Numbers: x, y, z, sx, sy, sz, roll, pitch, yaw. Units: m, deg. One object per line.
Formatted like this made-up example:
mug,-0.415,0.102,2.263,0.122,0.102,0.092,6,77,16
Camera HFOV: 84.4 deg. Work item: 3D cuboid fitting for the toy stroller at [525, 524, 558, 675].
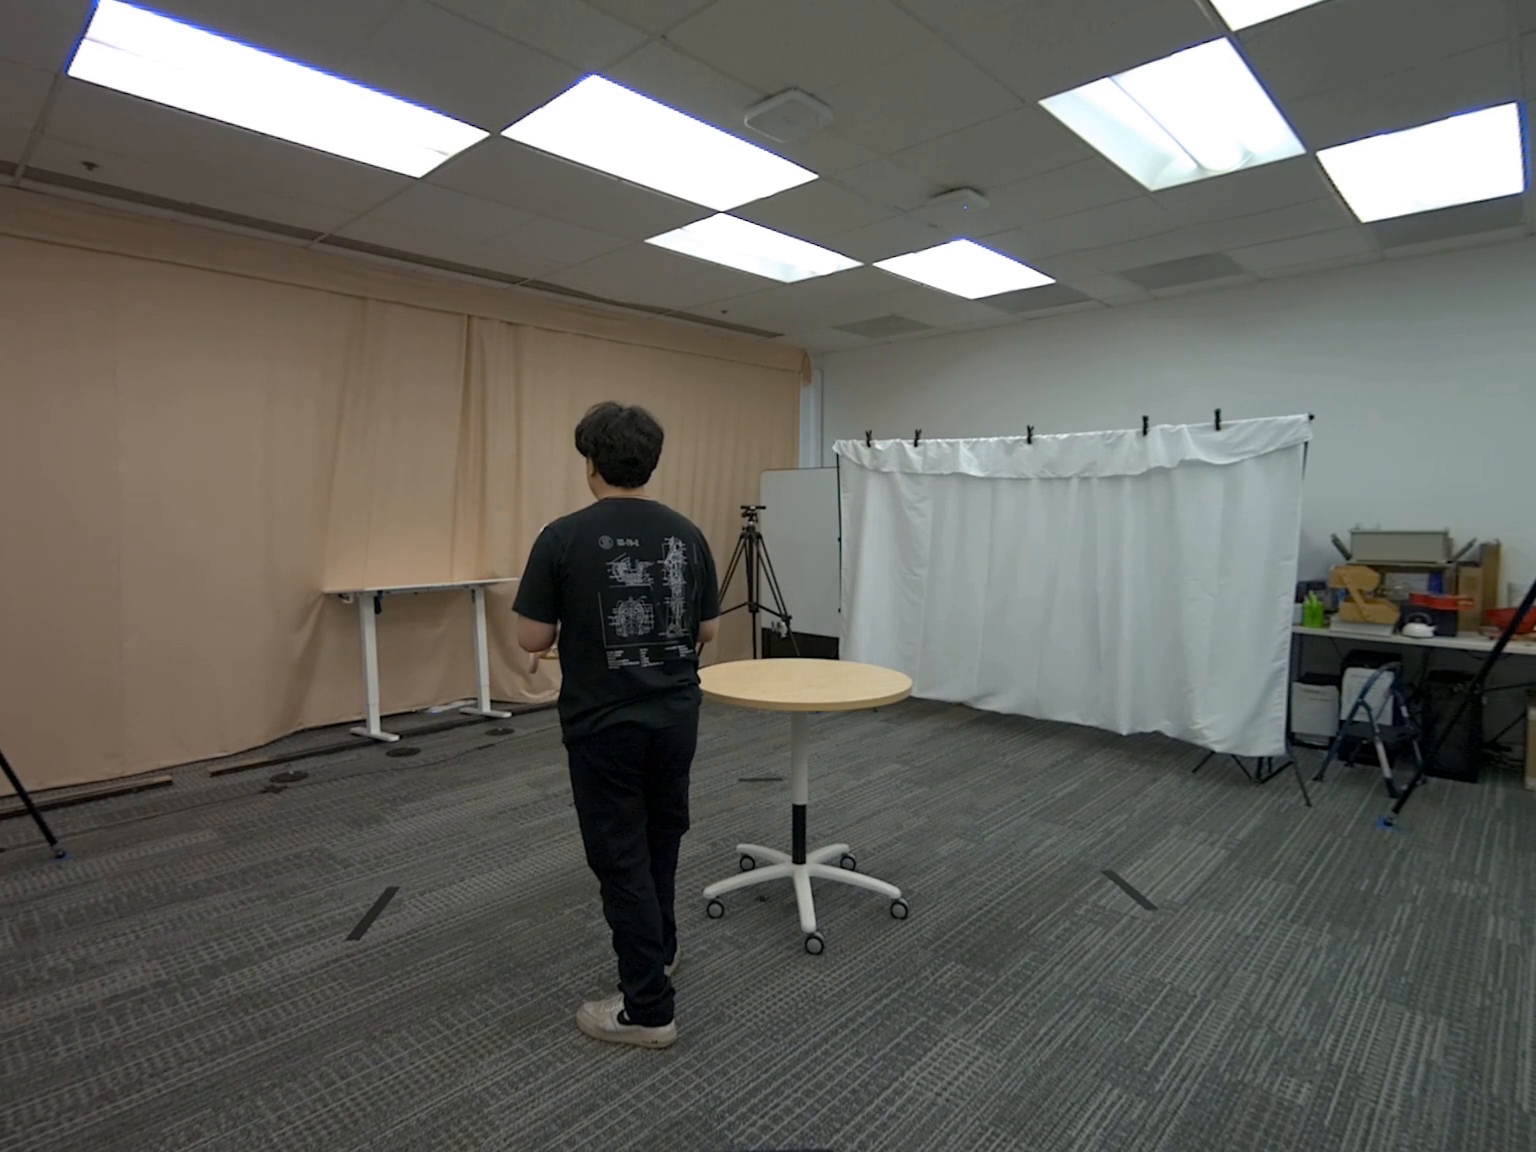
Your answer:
toy stroller,-0.578,0.088,2.555,0.275,0.536,0.348,2,-5,-22
